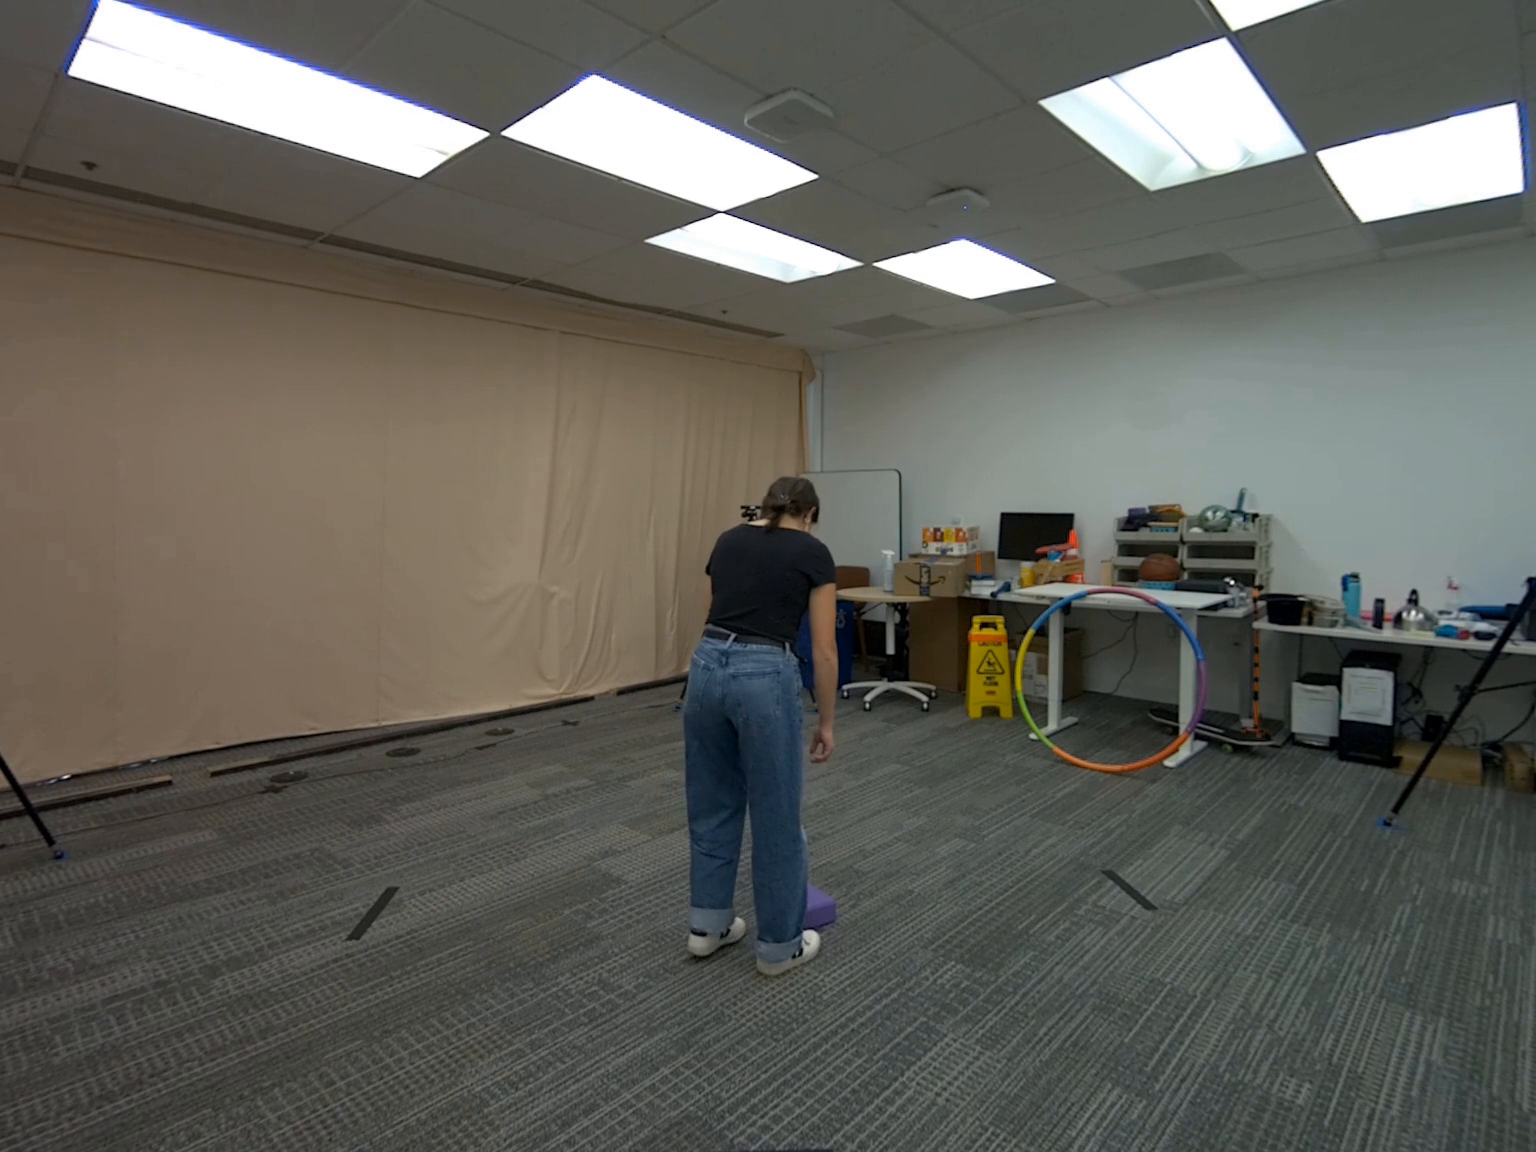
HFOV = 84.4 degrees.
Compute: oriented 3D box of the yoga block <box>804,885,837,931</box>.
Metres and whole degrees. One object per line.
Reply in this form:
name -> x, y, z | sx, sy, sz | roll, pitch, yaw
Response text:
yoga block -> 0.120, 1.113, 2.869 | 0.145, 0.076, 0.236 | -3, 6, -32
